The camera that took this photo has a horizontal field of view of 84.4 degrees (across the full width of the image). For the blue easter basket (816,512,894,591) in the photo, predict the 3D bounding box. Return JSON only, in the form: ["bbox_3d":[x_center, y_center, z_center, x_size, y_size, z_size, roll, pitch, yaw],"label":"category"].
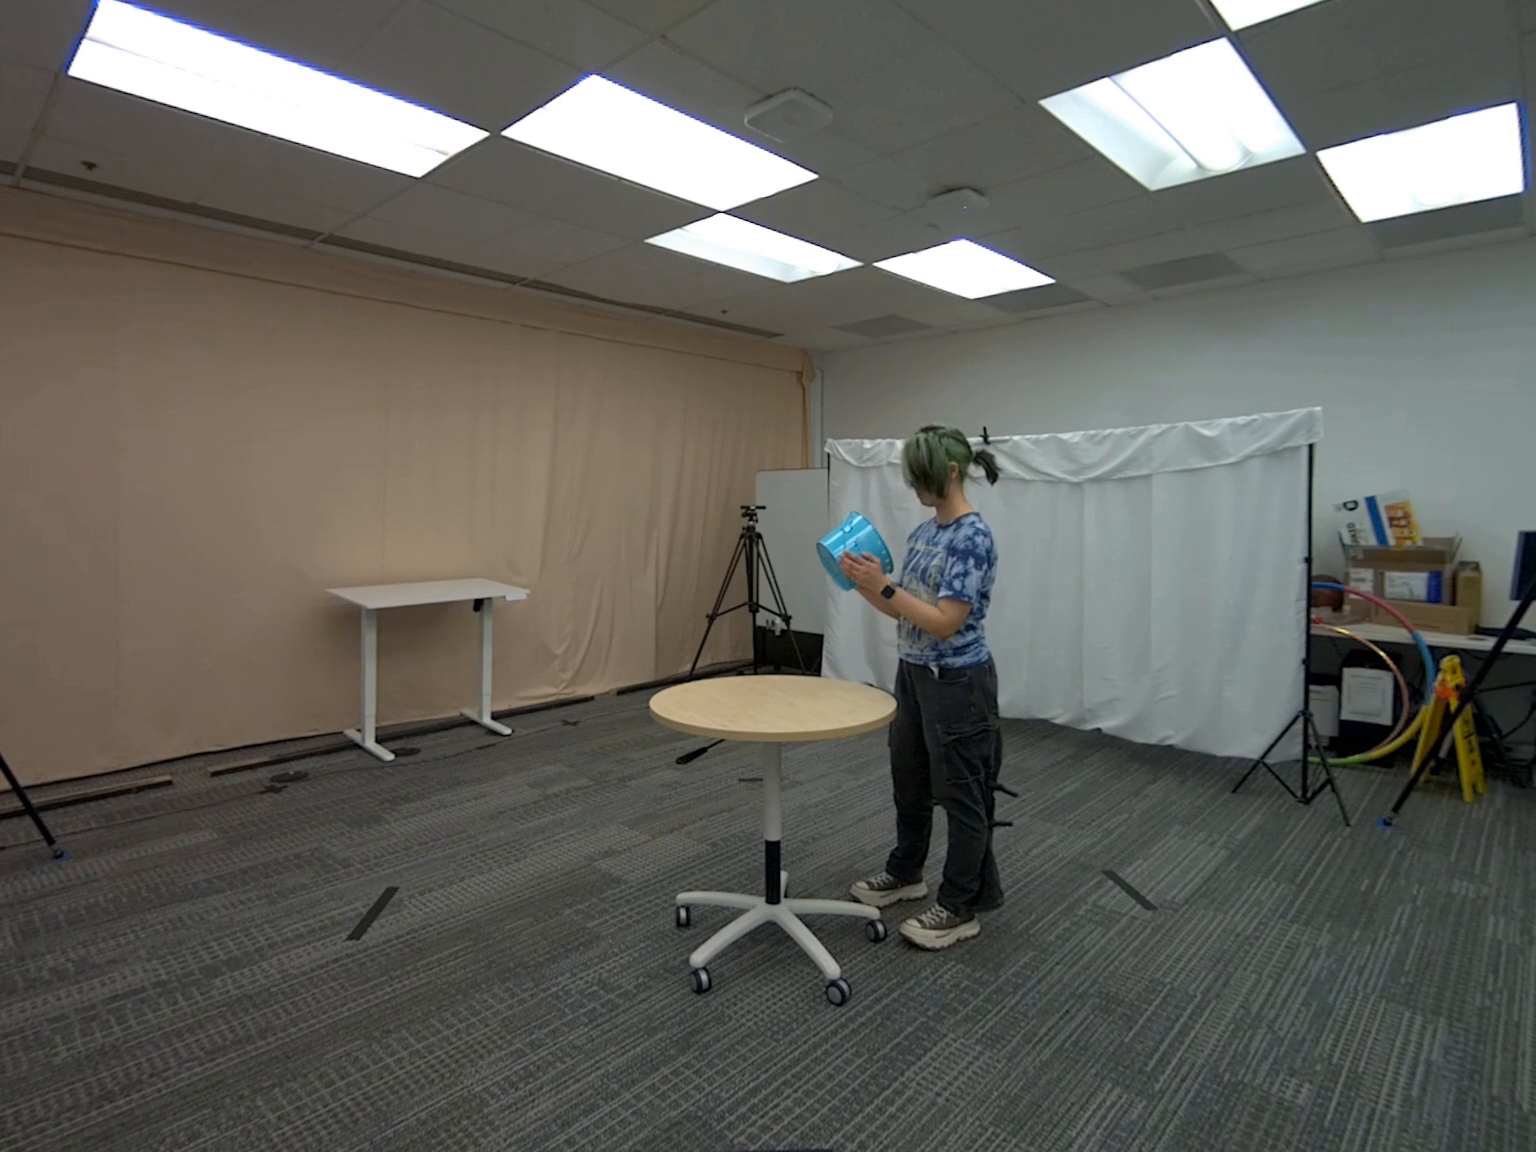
[{"bbox_3d":[0.272,-0.063,2.661,0.155,0.241,0.247,-29,9,-9],"label":"blue easter basket"}]
